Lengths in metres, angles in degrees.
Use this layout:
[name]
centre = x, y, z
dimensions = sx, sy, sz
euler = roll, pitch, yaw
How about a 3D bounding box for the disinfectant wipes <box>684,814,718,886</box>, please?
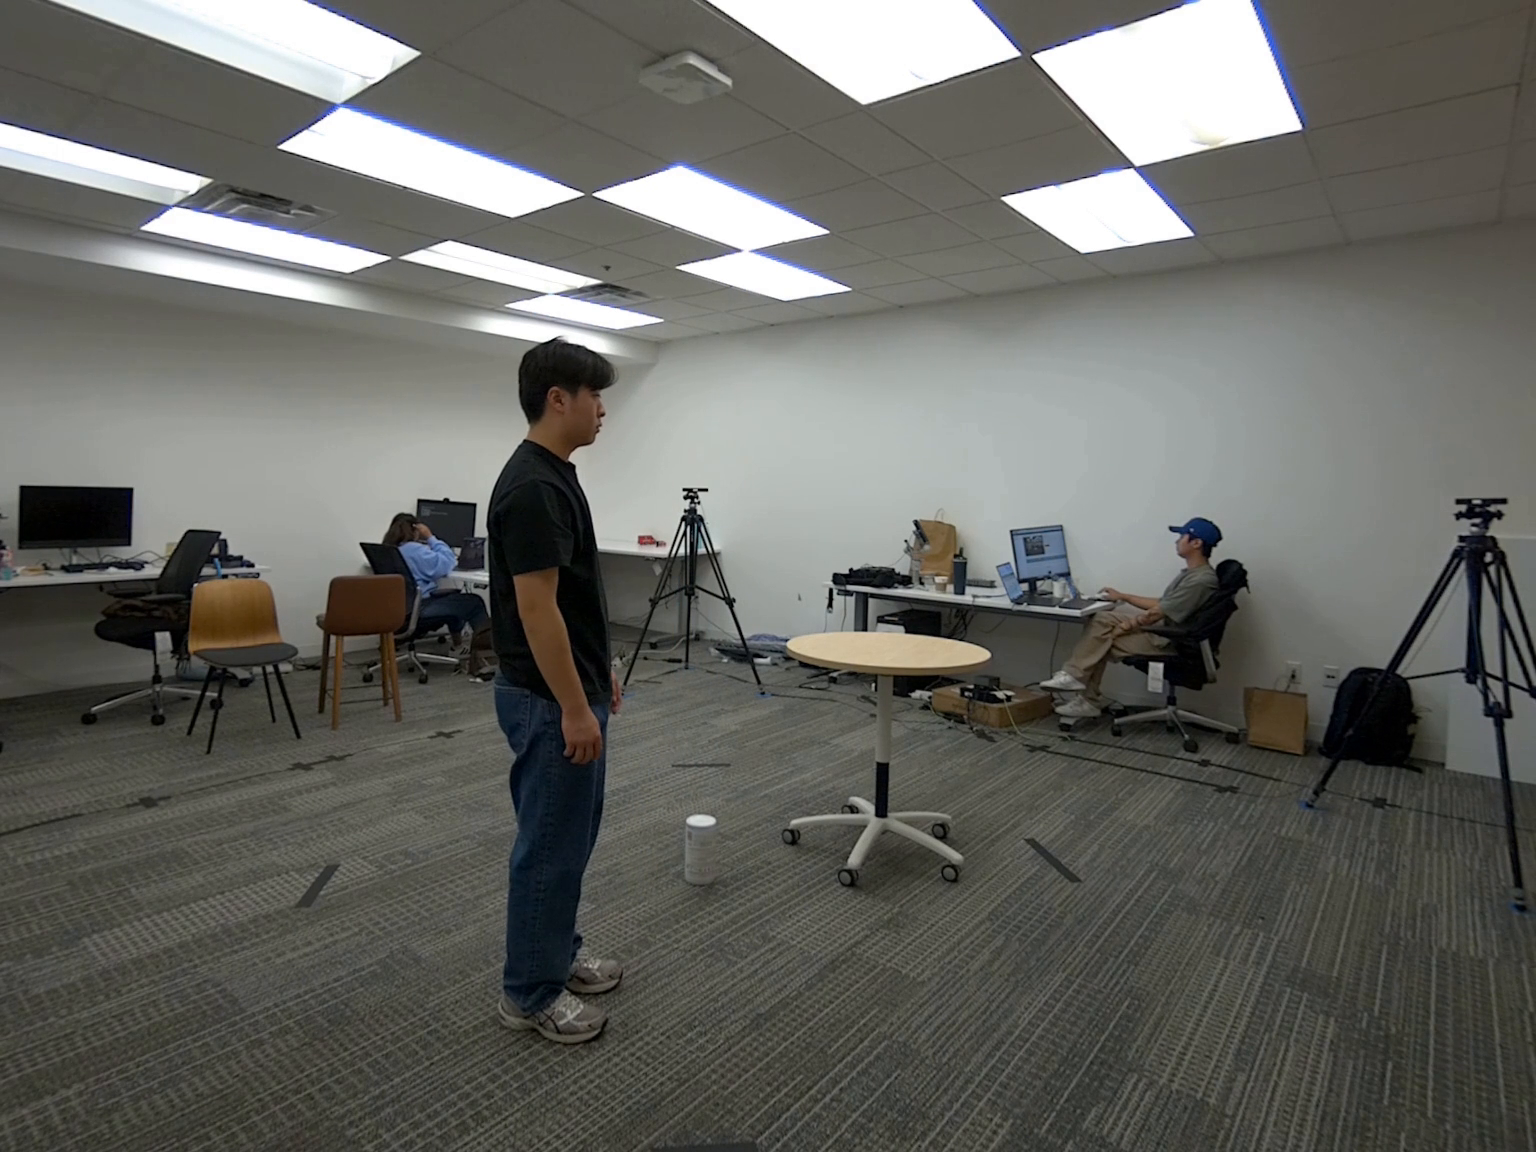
[disinfectant wipes]
centre = -0.250, 0.968, 3.031
dimensions = 0.118, 0.217, 0.118
euler = 0, 3, -2
